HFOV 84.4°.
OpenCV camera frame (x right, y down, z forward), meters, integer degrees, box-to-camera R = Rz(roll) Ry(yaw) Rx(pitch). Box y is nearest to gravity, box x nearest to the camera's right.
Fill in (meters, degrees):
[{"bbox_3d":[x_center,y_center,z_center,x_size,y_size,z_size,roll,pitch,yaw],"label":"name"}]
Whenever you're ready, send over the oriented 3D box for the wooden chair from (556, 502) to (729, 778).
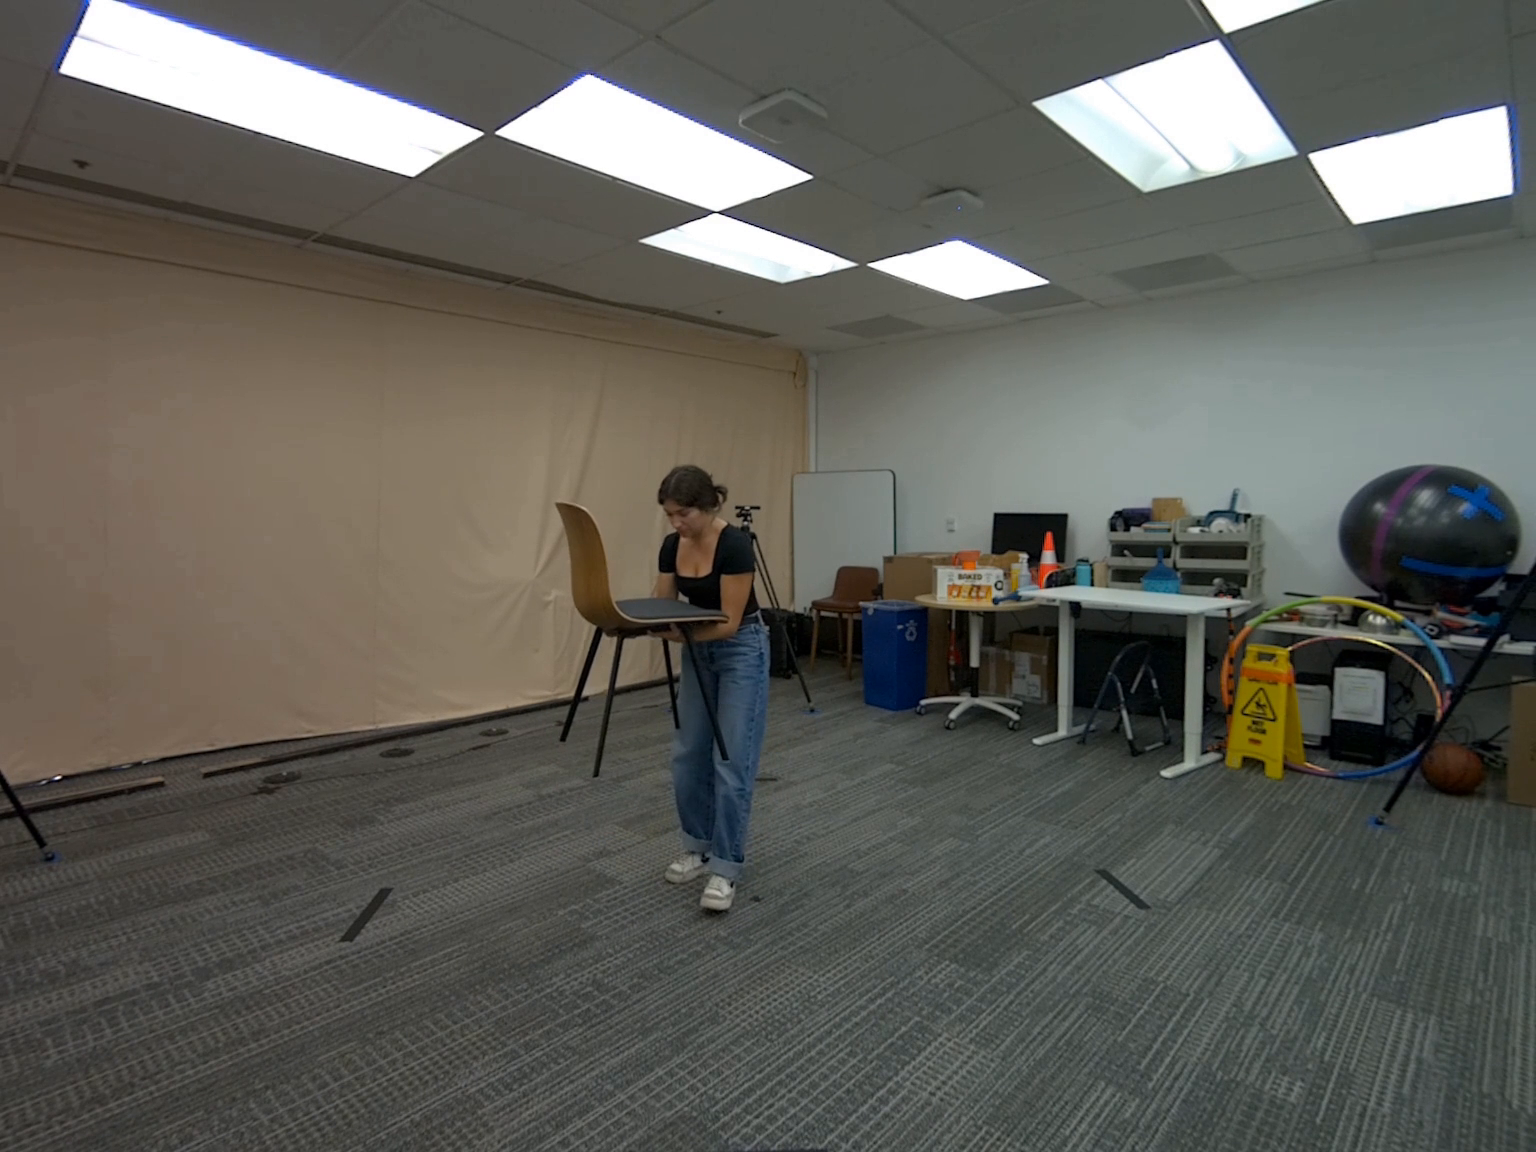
[{"bbox_3d":[-0.427,0.178,2.834,0.511,0.875,0.491,-5,4,-26],"label":"wooden chair"}]
